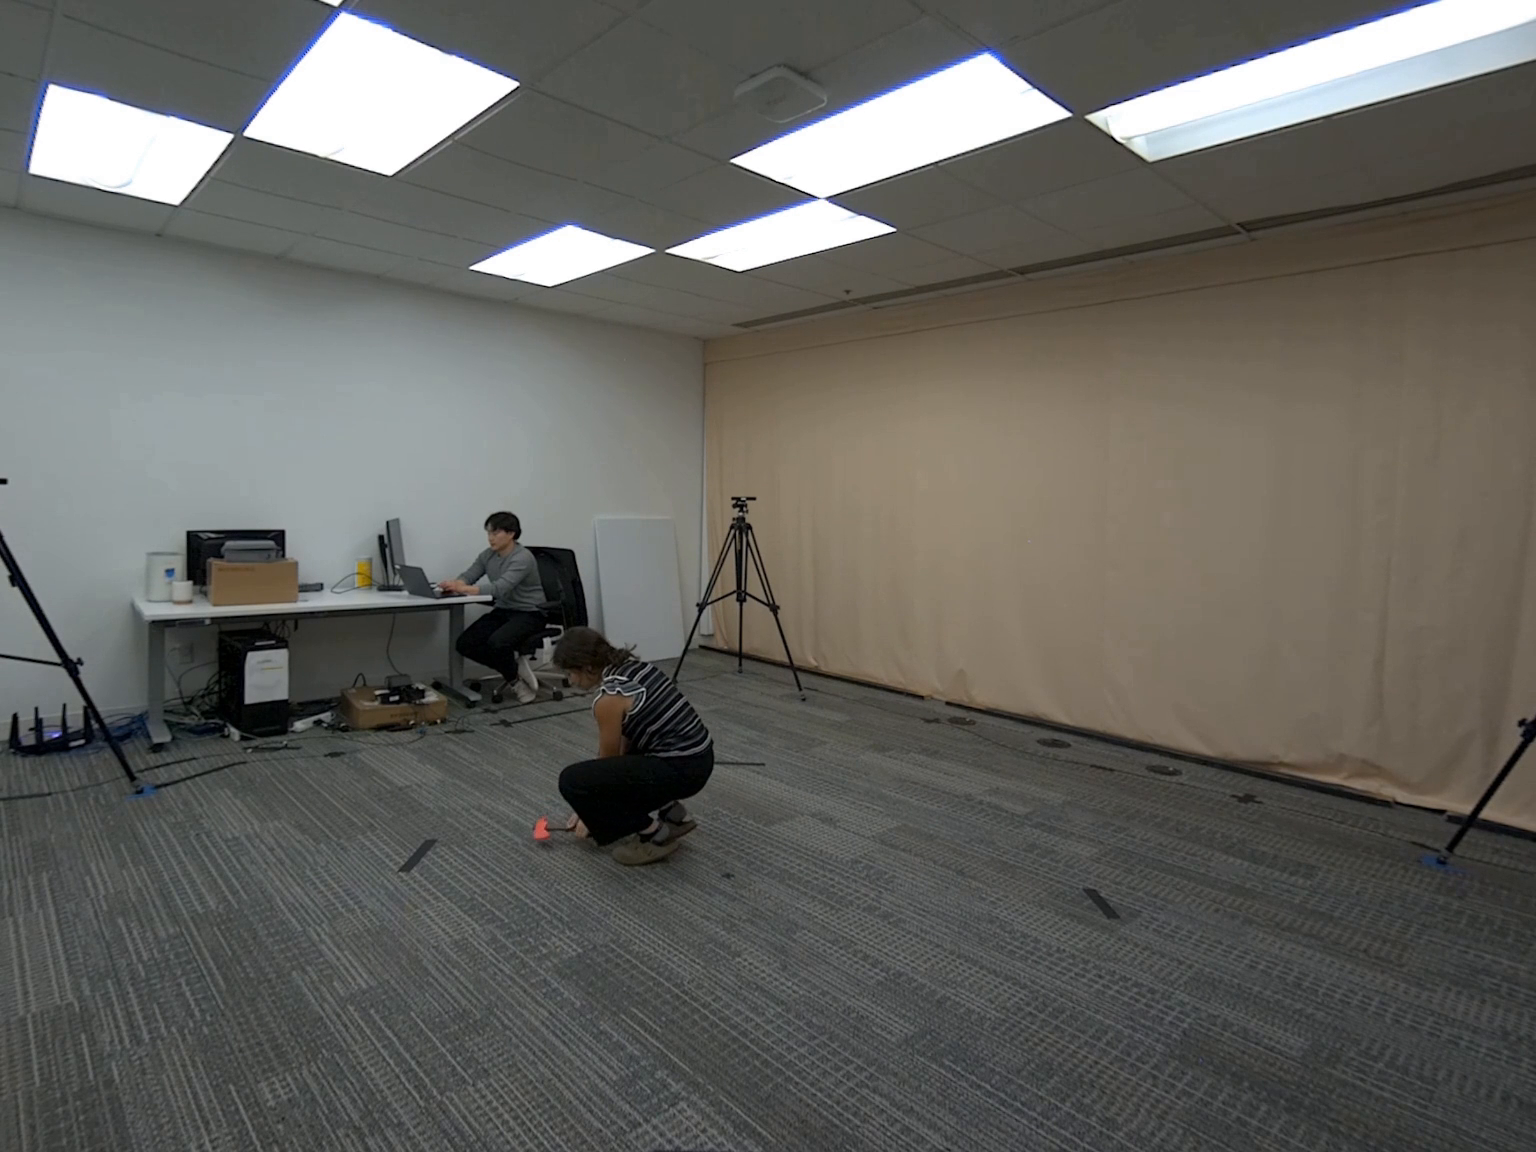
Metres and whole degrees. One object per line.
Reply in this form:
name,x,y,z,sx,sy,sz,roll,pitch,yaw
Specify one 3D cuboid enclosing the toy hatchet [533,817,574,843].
toy hatchet,-0.819,1.004,3.371,0.268,0.029,0.134,-5,18,-12
